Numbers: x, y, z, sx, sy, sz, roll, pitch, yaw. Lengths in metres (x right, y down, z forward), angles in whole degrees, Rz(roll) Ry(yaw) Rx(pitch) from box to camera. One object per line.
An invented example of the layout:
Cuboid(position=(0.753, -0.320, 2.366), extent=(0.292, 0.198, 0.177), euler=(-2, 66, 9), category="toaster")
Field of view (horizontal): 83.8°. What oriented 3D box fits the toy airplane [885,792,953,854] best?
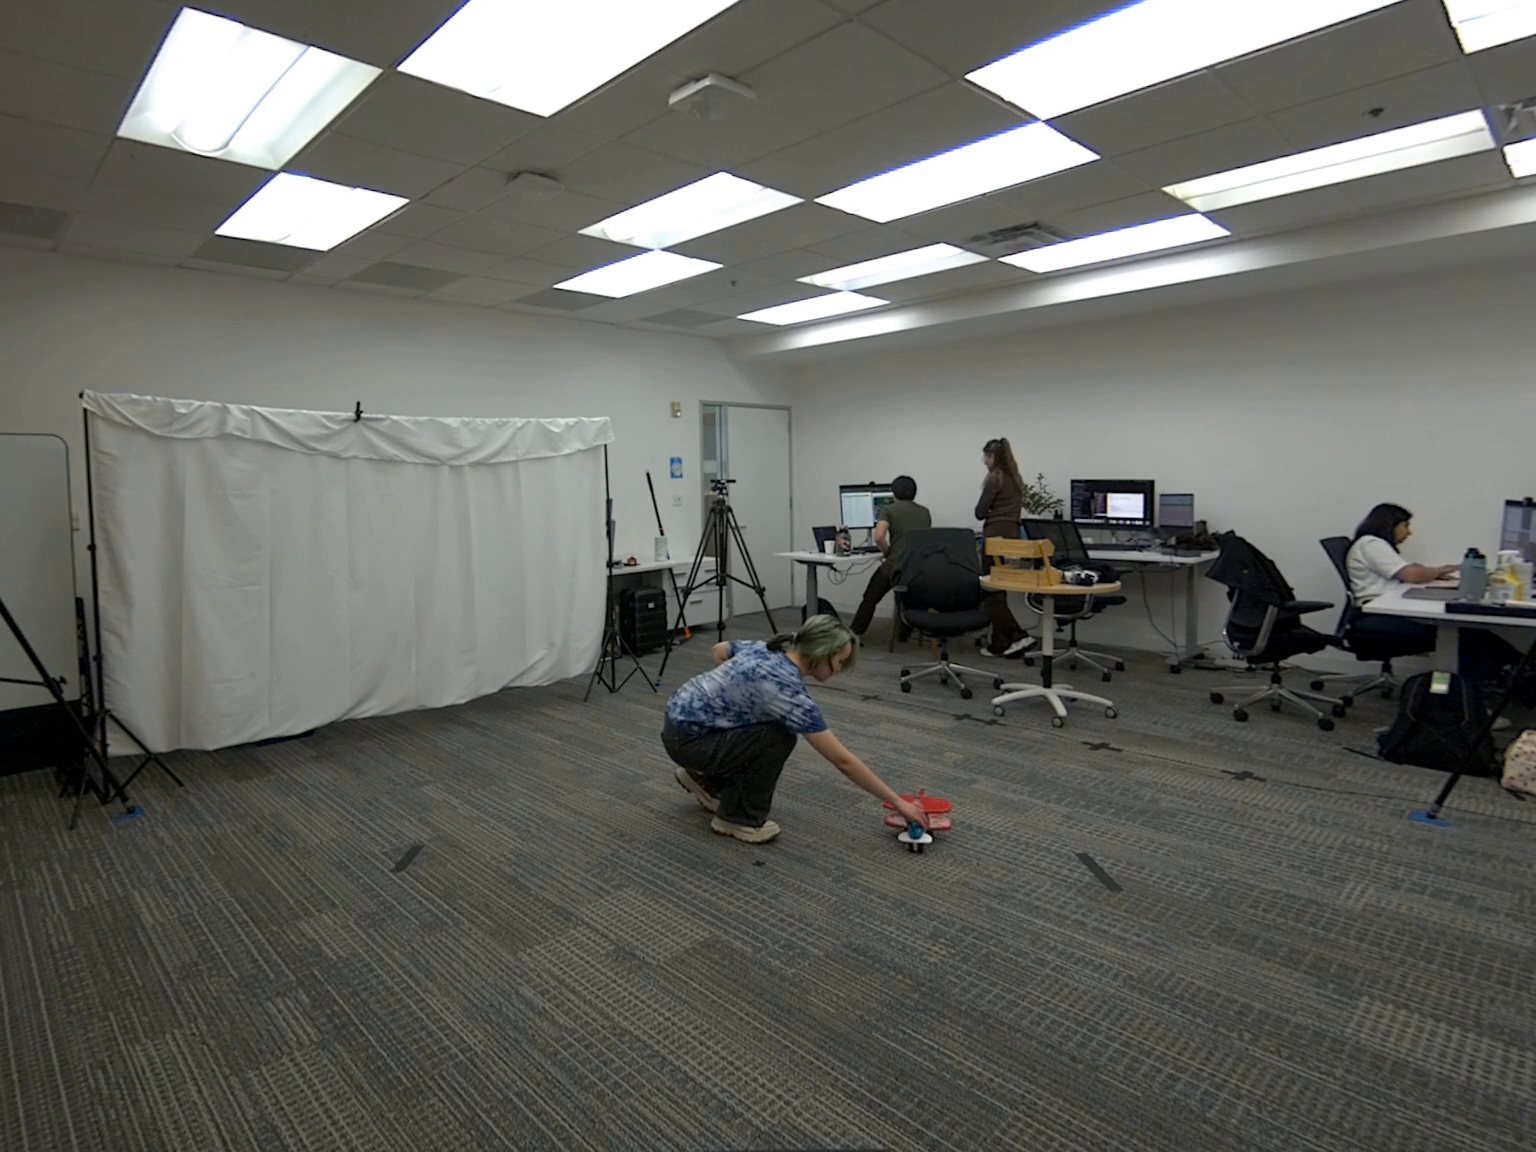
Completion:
Cuboid(position=(0.584, 0.939, 3.264), extent=(0.248, 0.156, 0.263), euler=(-3, 5, -15), category="toy airplane")
